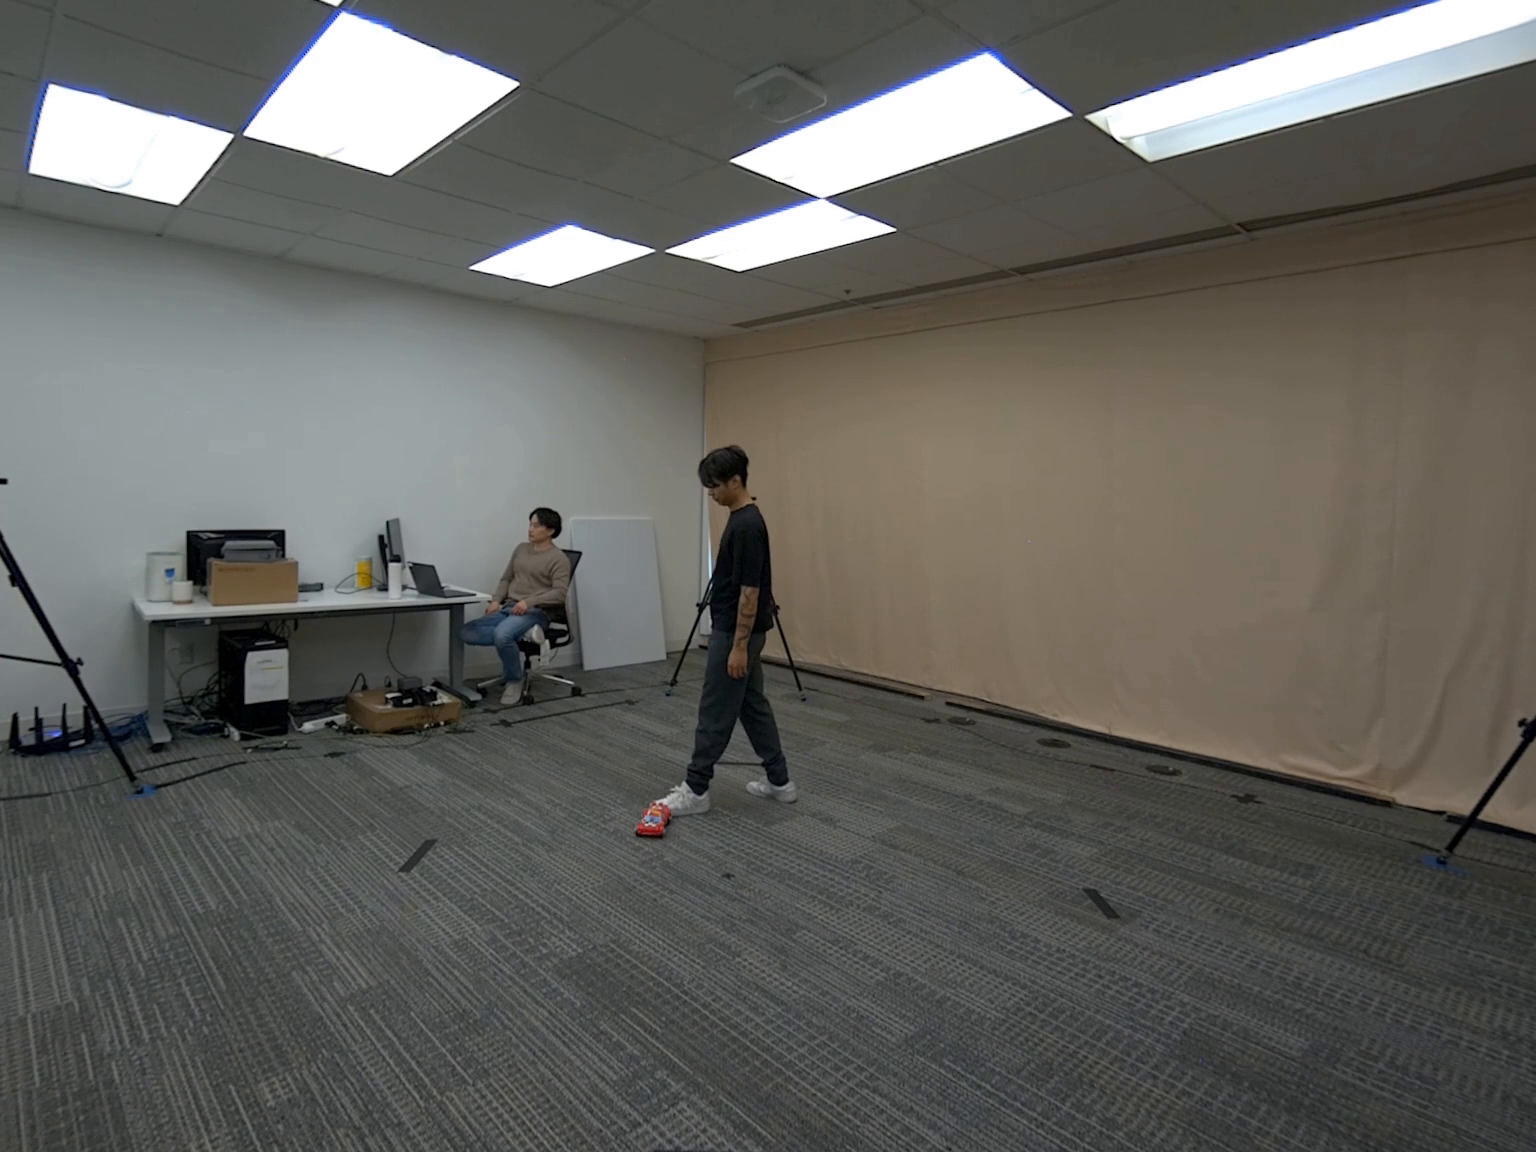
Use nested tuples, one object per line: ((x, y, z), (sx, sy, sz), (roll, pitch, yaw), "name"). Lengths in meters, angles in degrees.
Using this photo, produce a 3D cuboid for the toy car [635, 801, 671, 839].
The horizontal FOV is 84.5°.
((-0.485, 1.027, 3.548), (0.131, 0.082, 0.256), (2, 16, 3), "toy car")
